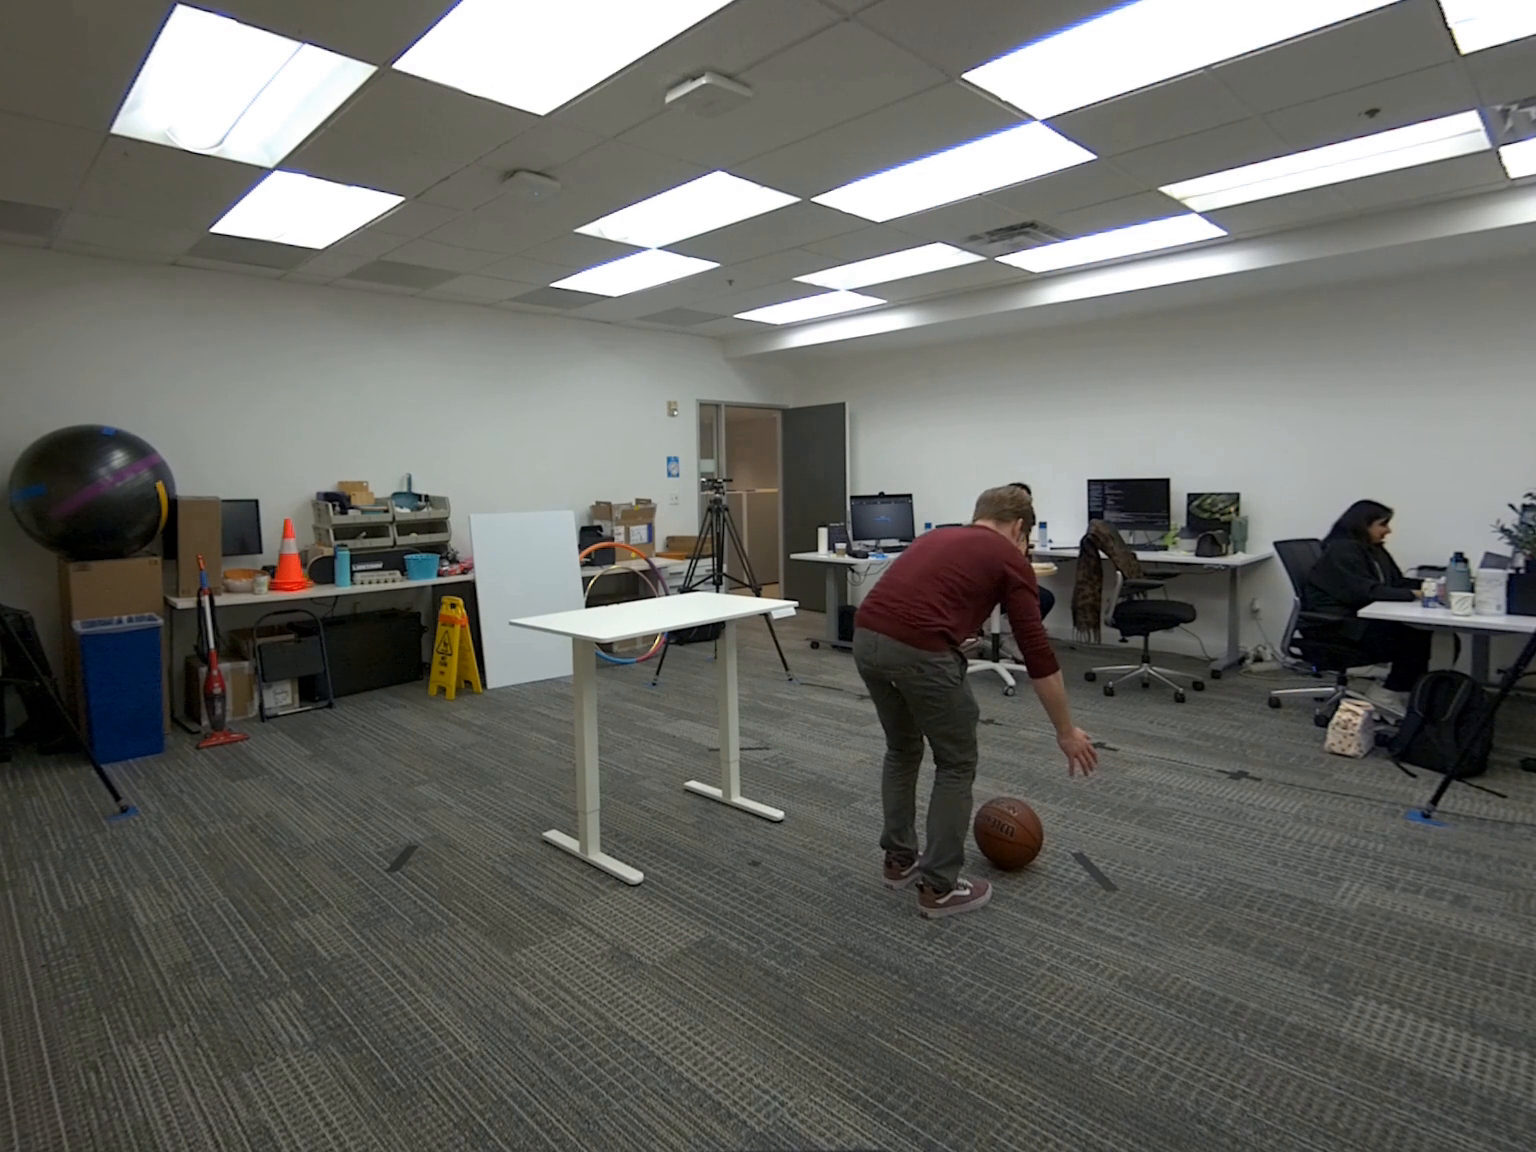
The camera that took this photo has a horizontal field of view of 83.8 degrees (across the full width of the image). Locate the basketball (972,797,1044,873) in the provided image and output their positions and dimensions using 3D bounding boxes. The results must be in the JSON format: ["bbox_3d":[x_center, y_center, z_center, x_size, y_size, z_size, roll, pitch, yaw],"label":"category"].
[{"bbox_3d":[0.871,0.918,3.051,0.236,0.235,0.237,-1,5,-2],"label":"basketball"}]
